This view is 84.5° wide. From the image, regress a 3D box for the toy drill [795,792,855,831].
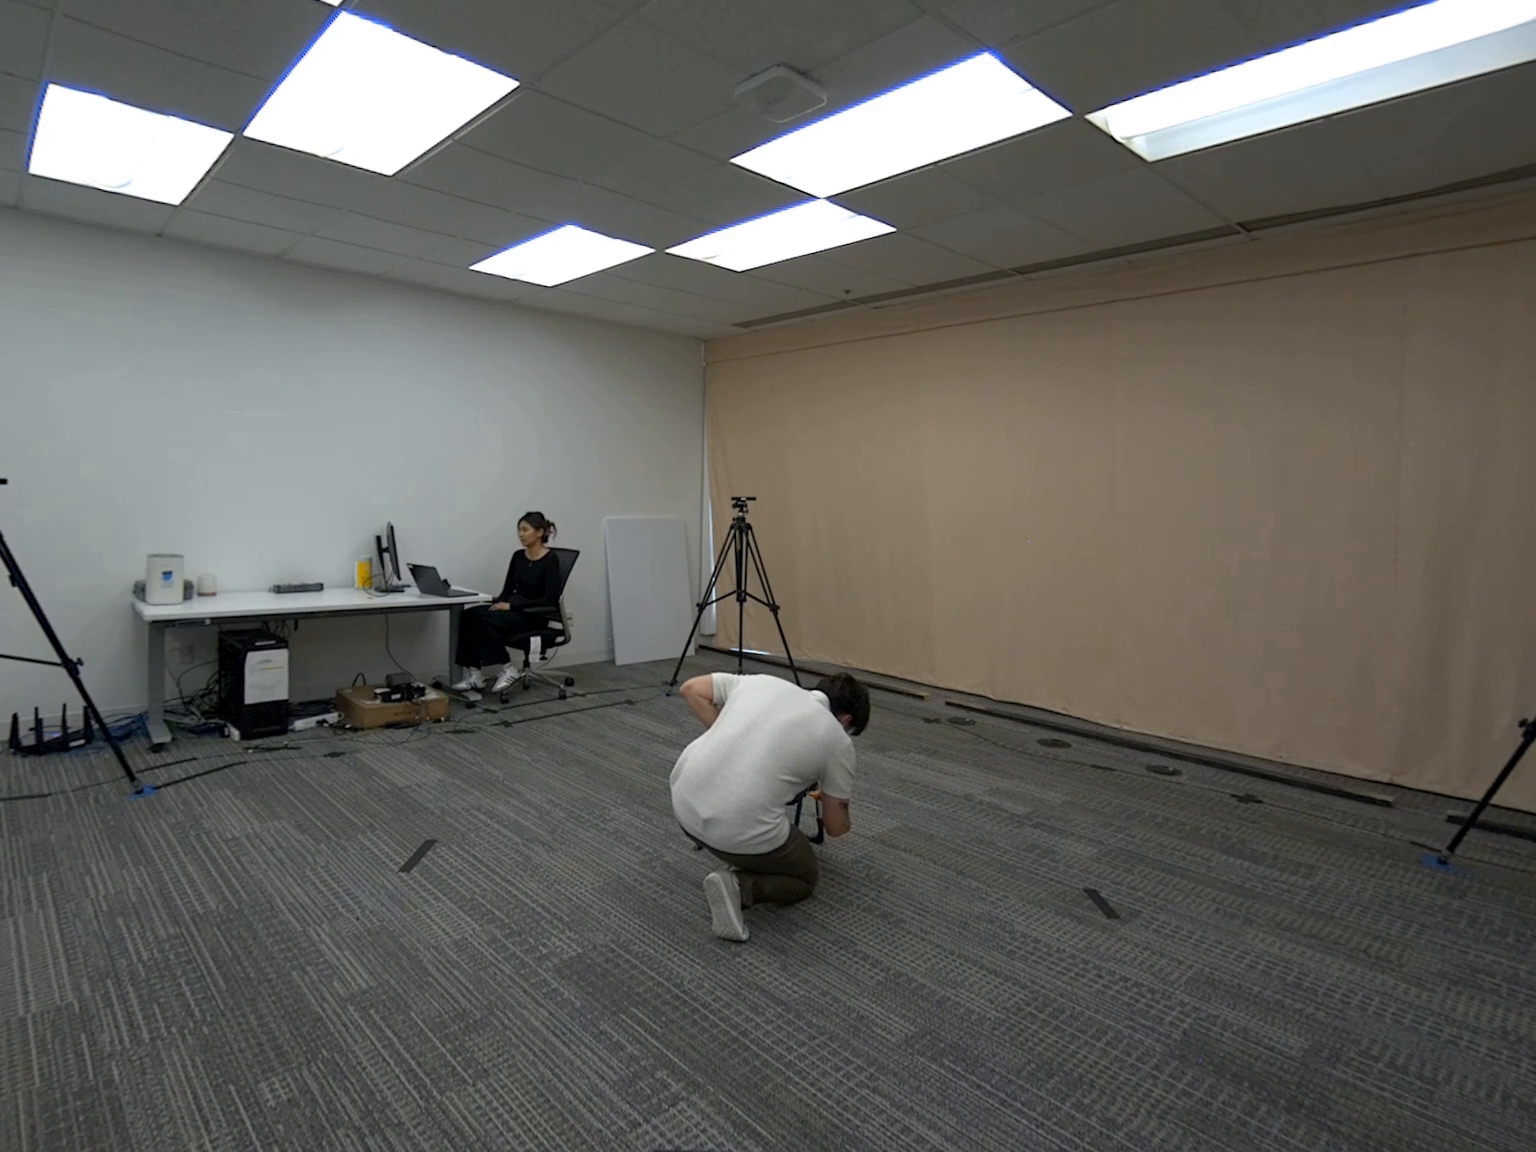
[{"bbox_3d":[0.214,0.888,3.221,0.174,0.060,0.145,5,30,32],"label":"toy drill"}]
